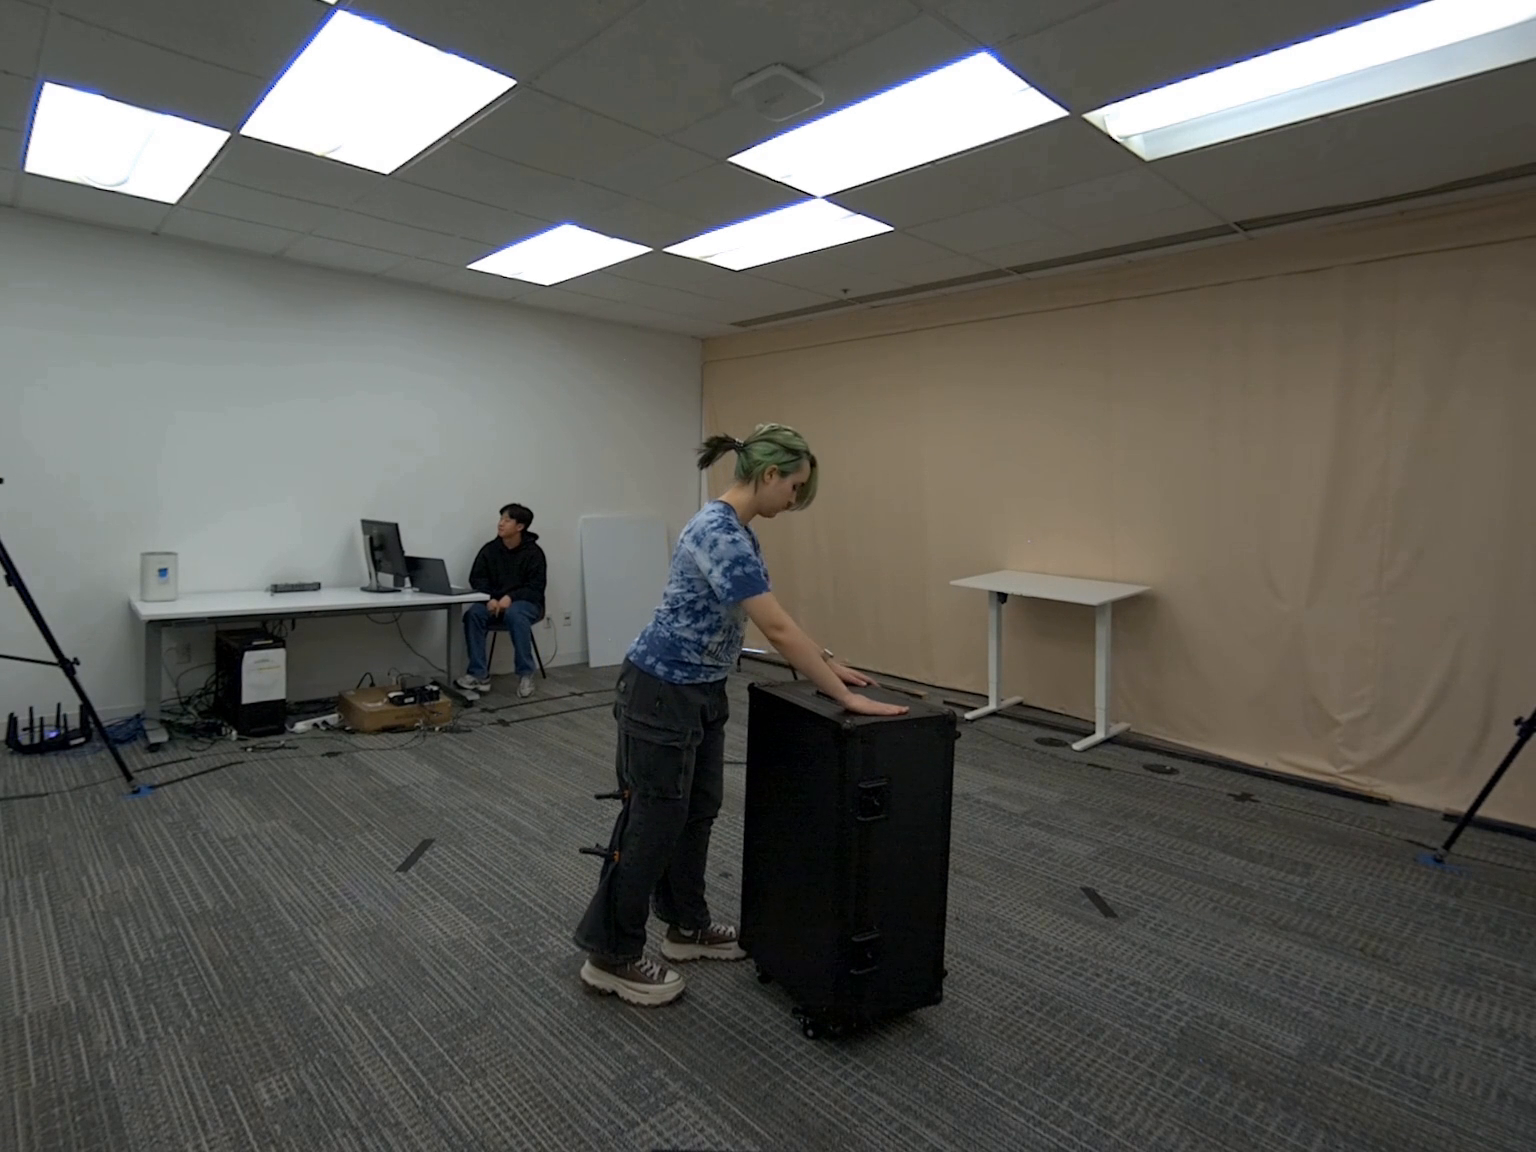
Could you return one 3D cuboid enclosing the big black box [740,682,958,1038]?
[{"bbox_3d":[0.207,0.763,2.343,0.388,0.859,0.533,1,4,-31],"label":"big black box"}]
